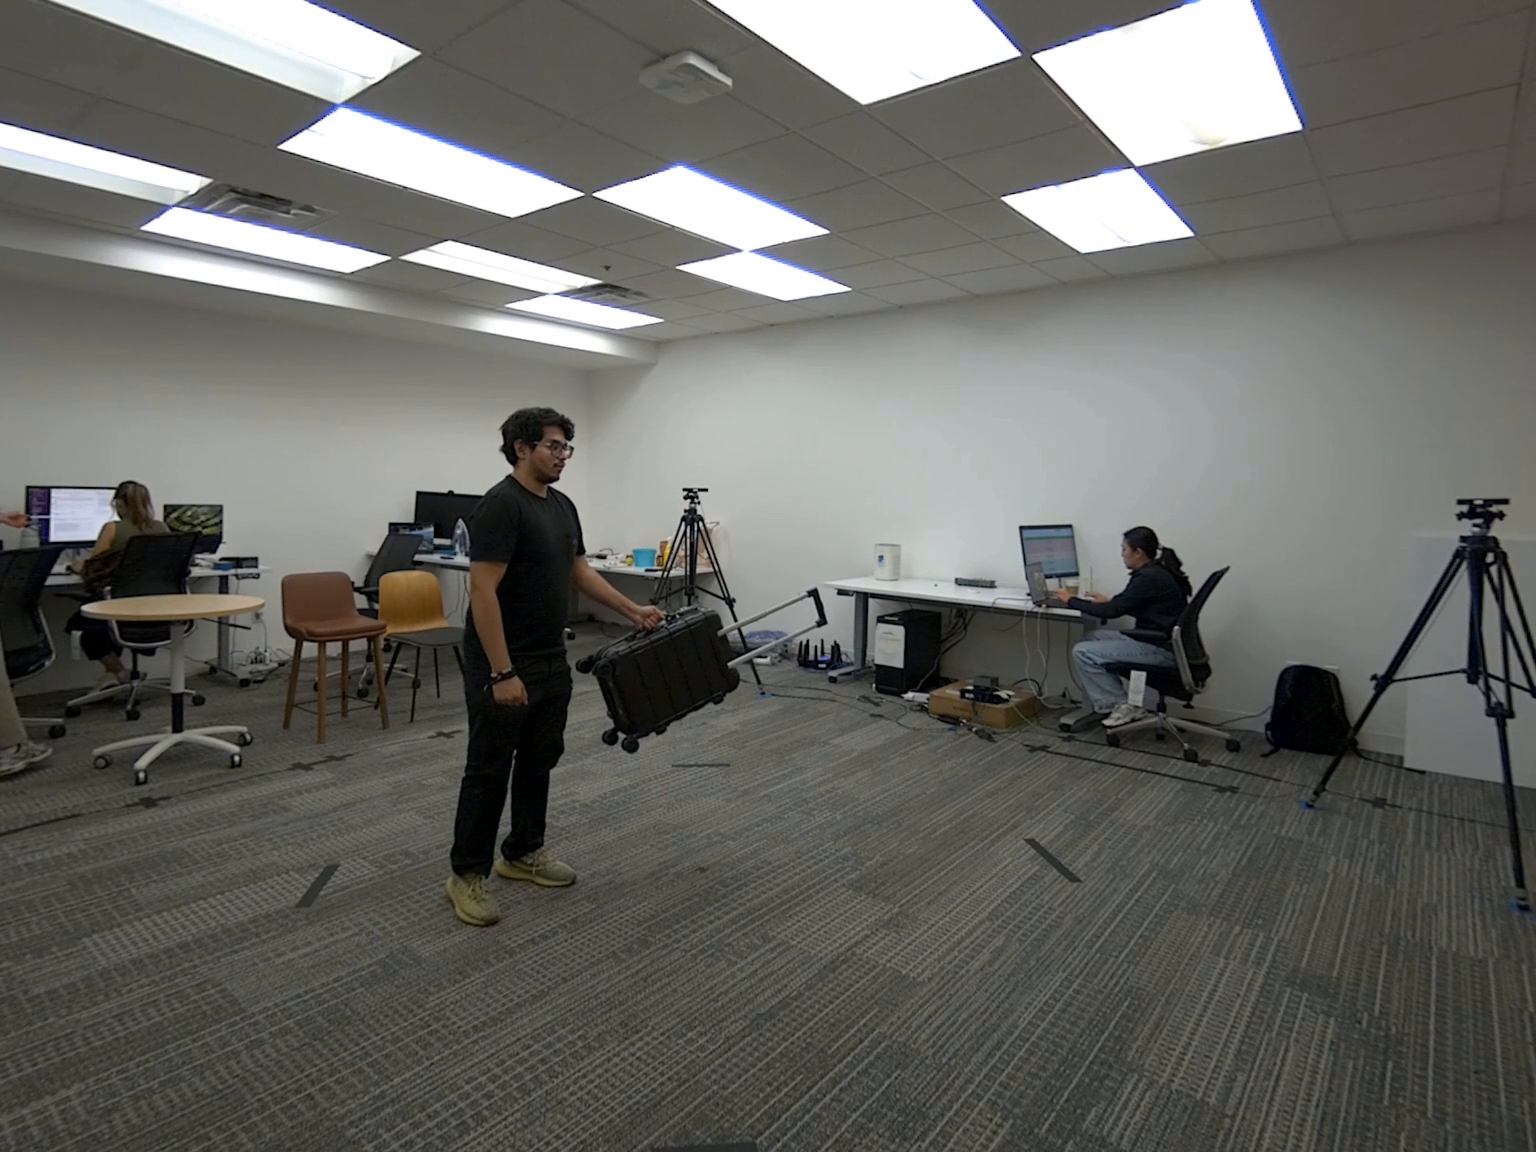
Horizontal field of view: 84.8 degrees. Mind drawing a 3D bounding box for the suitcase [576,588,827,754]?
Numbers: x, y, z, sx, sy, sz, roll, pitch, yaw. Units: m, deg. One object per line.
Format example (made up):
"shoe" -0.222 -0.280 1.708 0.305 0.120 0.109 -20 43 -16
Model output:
"suitcase" -0.250 0.290 3.319 0.964 0.381 0.263 -25 9 -29
